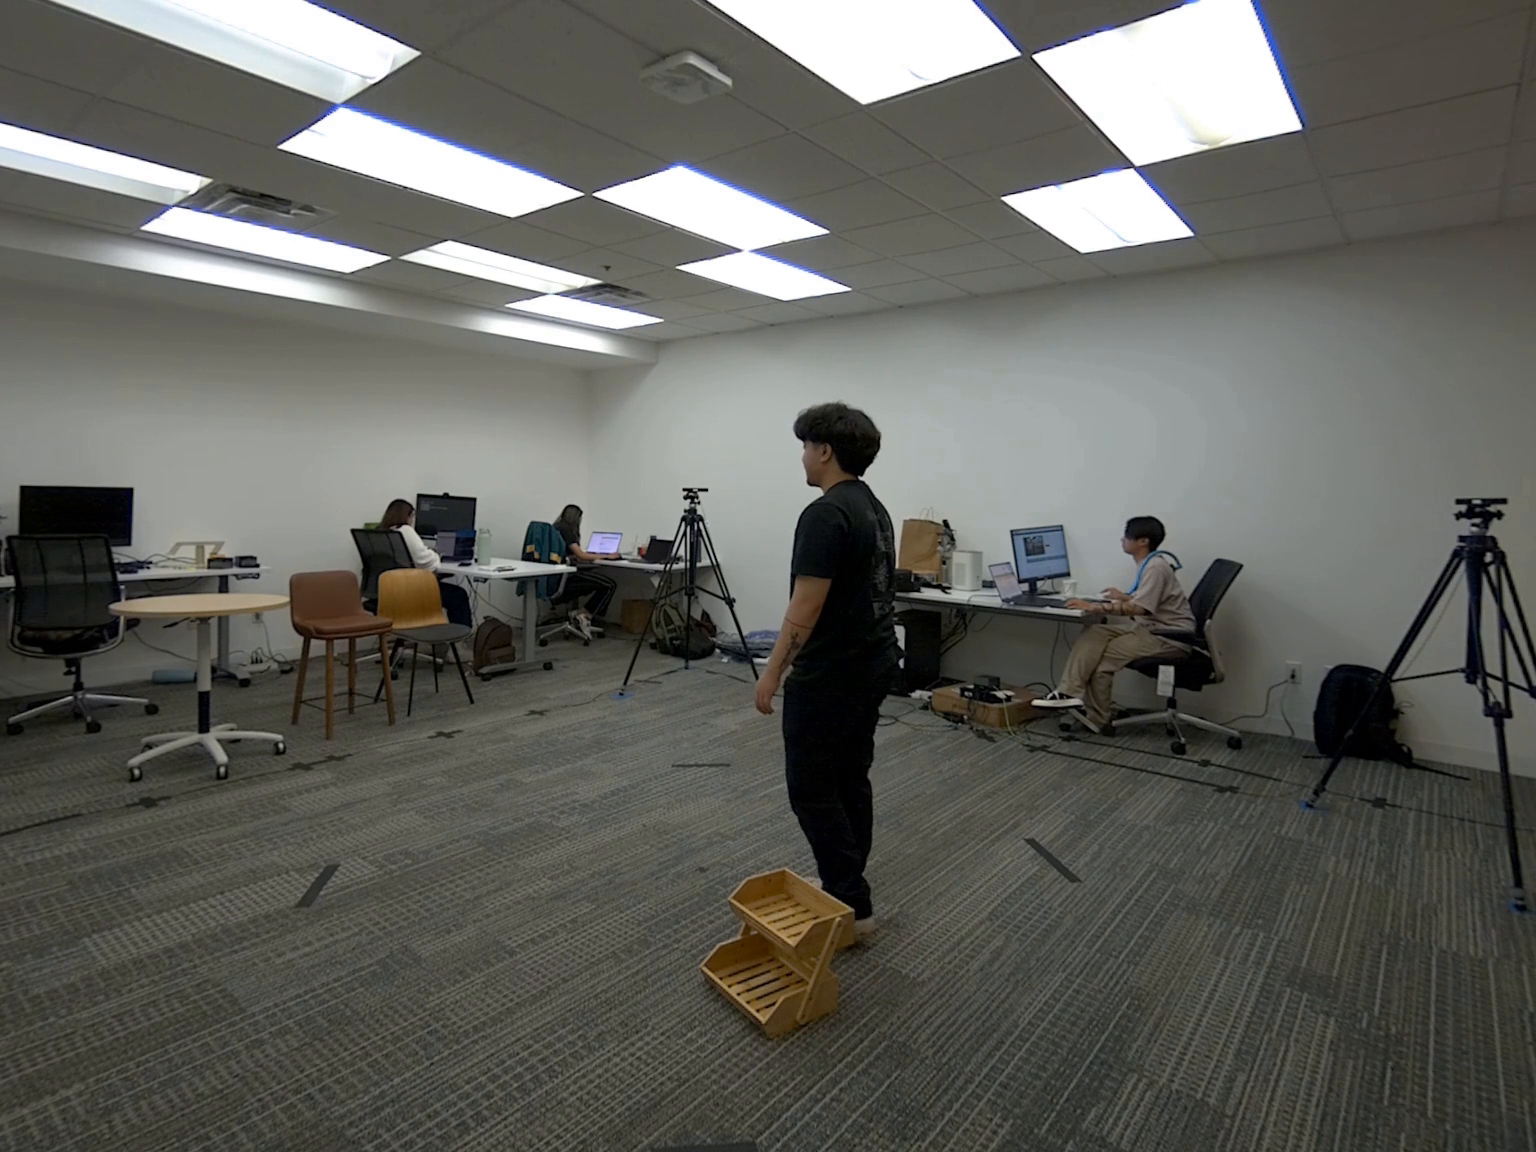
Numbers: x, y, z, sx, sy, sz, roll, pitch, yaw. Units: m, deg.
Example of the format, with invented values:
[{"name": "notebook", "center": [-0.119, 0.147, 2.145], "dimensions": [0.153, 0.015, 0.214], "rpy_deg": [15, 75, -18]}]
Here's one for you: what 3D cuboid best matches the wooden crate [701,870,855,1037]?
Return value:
[{"name": "wooden crate", "center": [0.014, 1.021, 2.347], "dimensions": [0.293, 0.272, 0.335], "rpy_deg": [-1, 5, -36]}]
